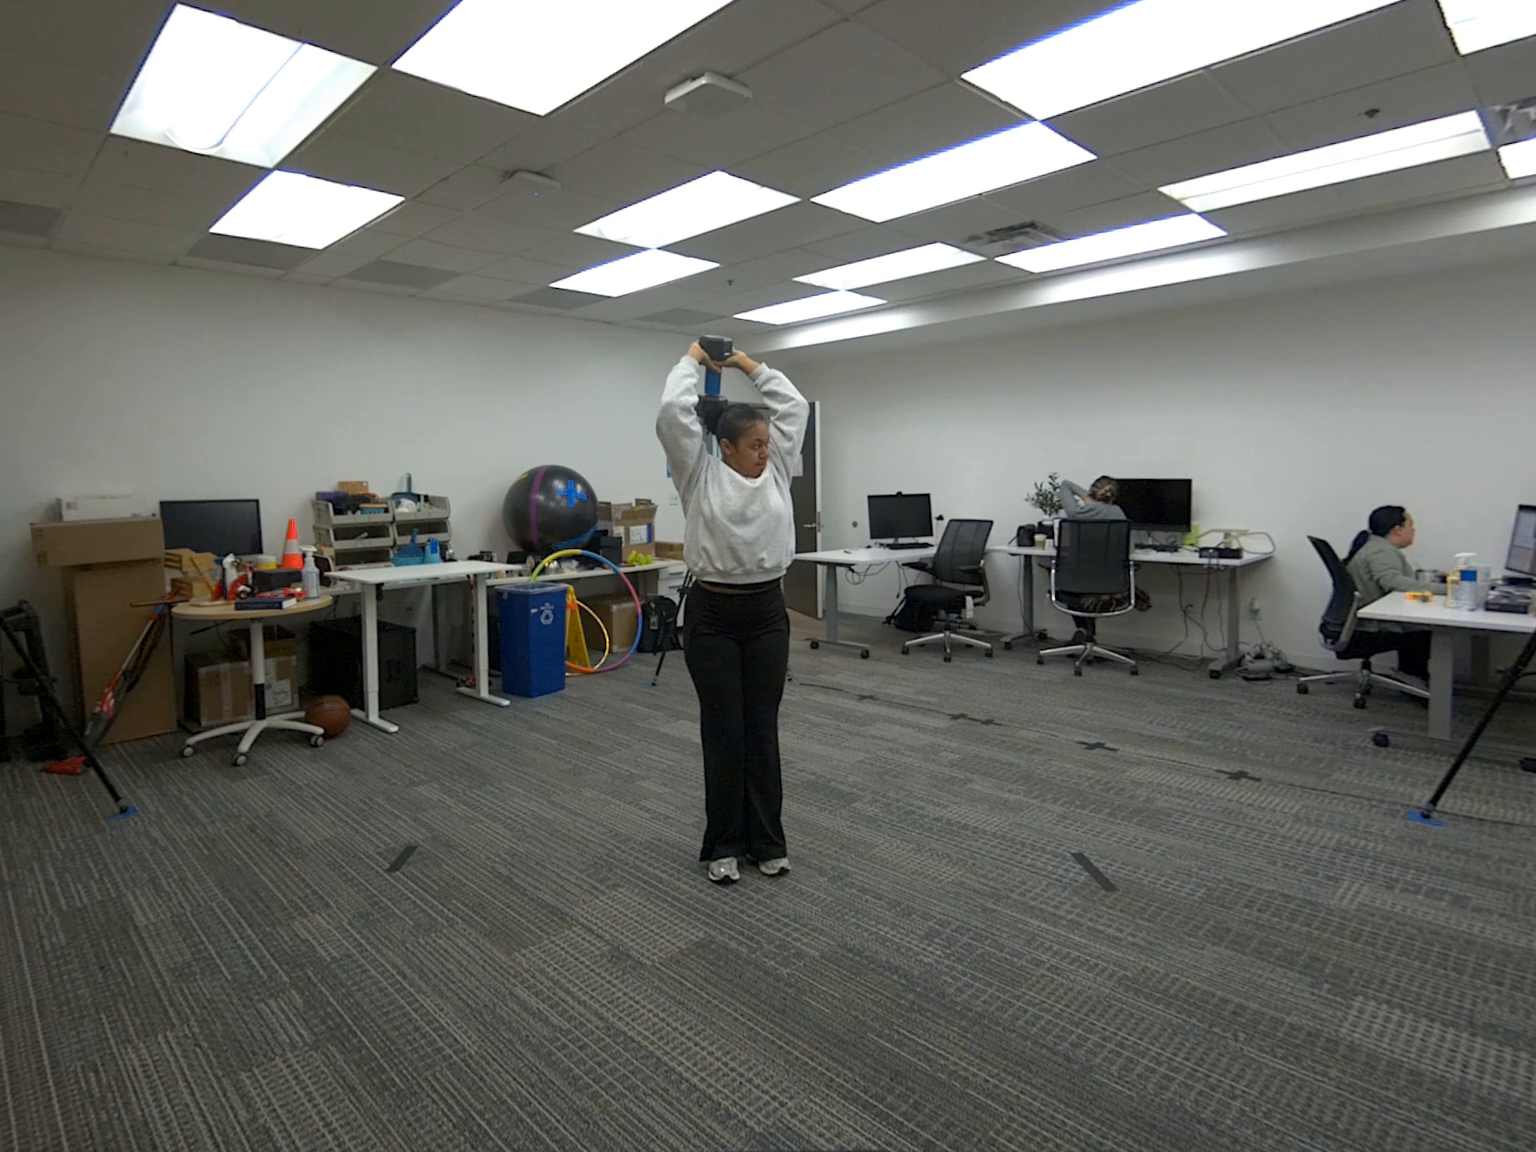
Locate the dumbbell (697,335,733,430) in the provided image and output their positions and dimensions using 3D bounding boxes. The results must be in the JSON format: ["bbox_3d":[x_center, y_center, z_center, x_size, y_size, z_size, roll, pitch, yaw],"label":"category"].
[{"bbox_3d":[-0.193,-0.725,3.118,0.112,0.289,0.121,16,23,24],"label":"dumbbell"}]
